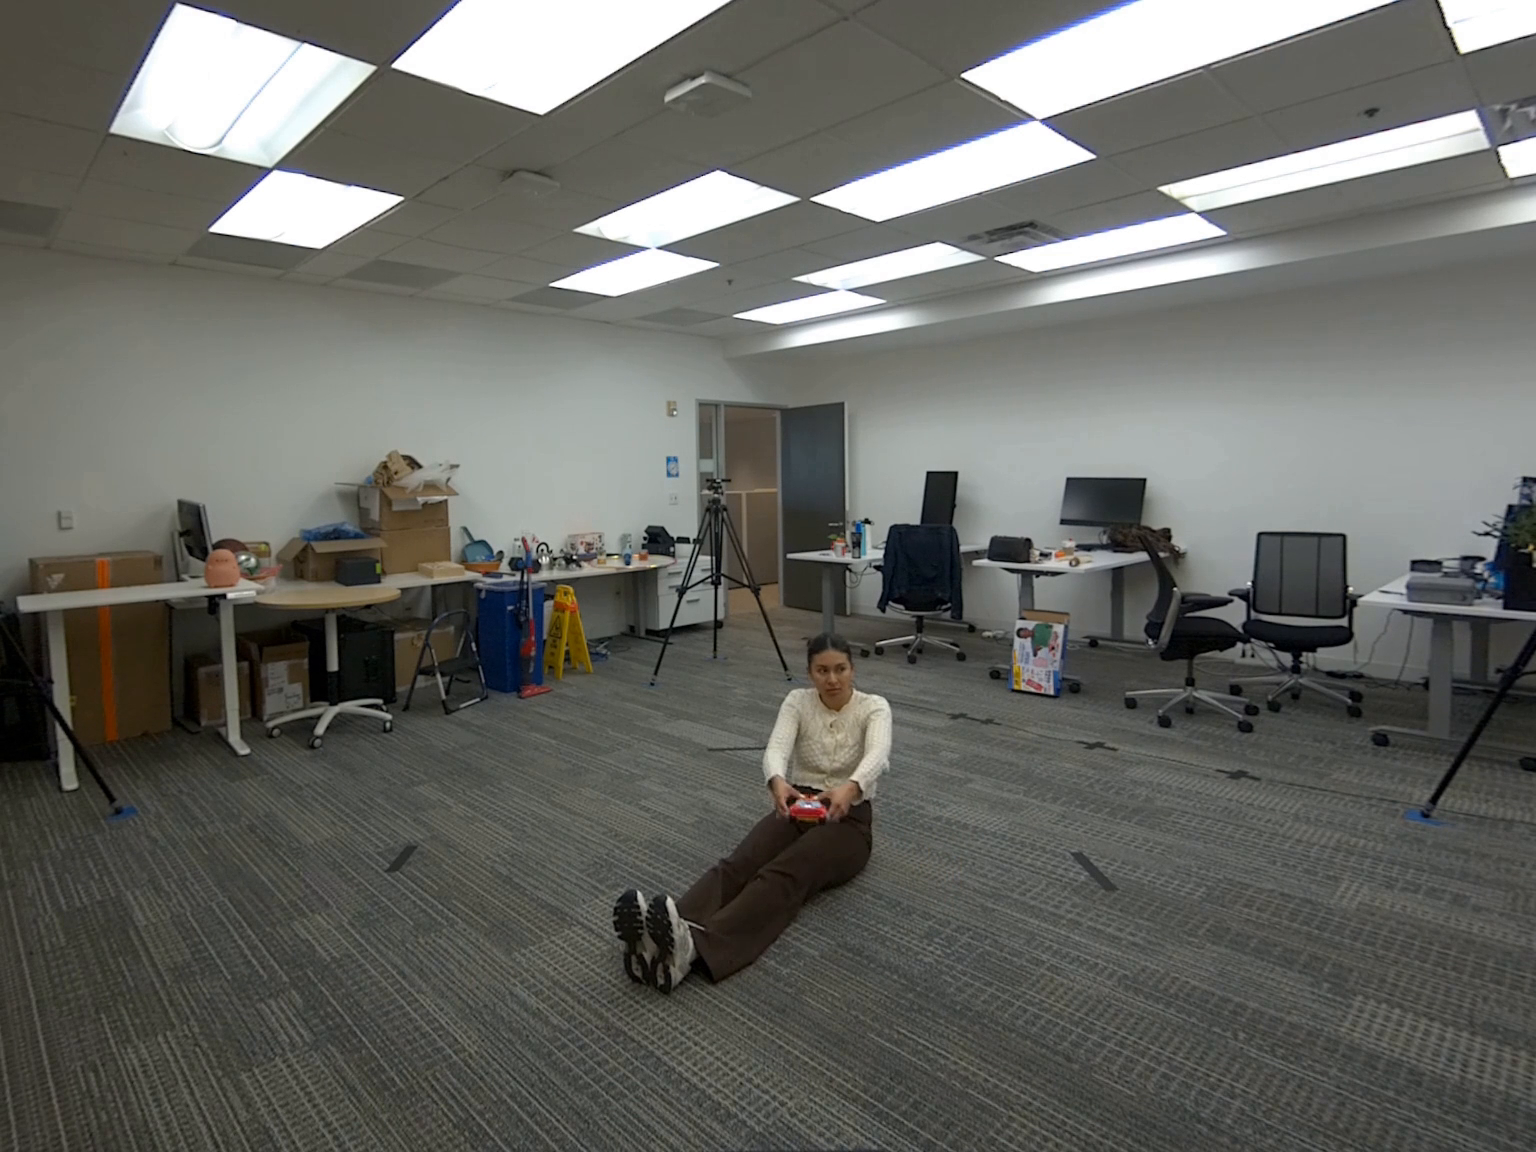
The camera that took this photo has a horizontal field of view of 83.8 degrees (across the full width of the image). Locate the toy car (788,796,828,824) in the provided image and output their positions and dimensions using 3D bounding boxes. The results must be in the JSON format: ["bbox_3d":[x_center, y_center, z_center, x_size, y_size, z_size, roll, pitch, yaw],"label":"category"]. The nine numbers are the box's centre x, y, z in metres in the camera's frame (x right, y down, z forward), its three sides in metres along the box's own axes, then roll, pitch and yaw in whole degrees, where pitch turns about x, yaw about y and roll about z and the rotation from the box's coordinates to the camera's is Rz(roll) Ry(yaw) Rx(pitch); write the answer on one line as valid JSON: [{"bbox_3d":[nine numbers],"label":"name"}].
[{"bbox_3d":[0.123,0.727,2.630,0.131,0.083,0.253,1,-3,2],"label":"toy car"}]
